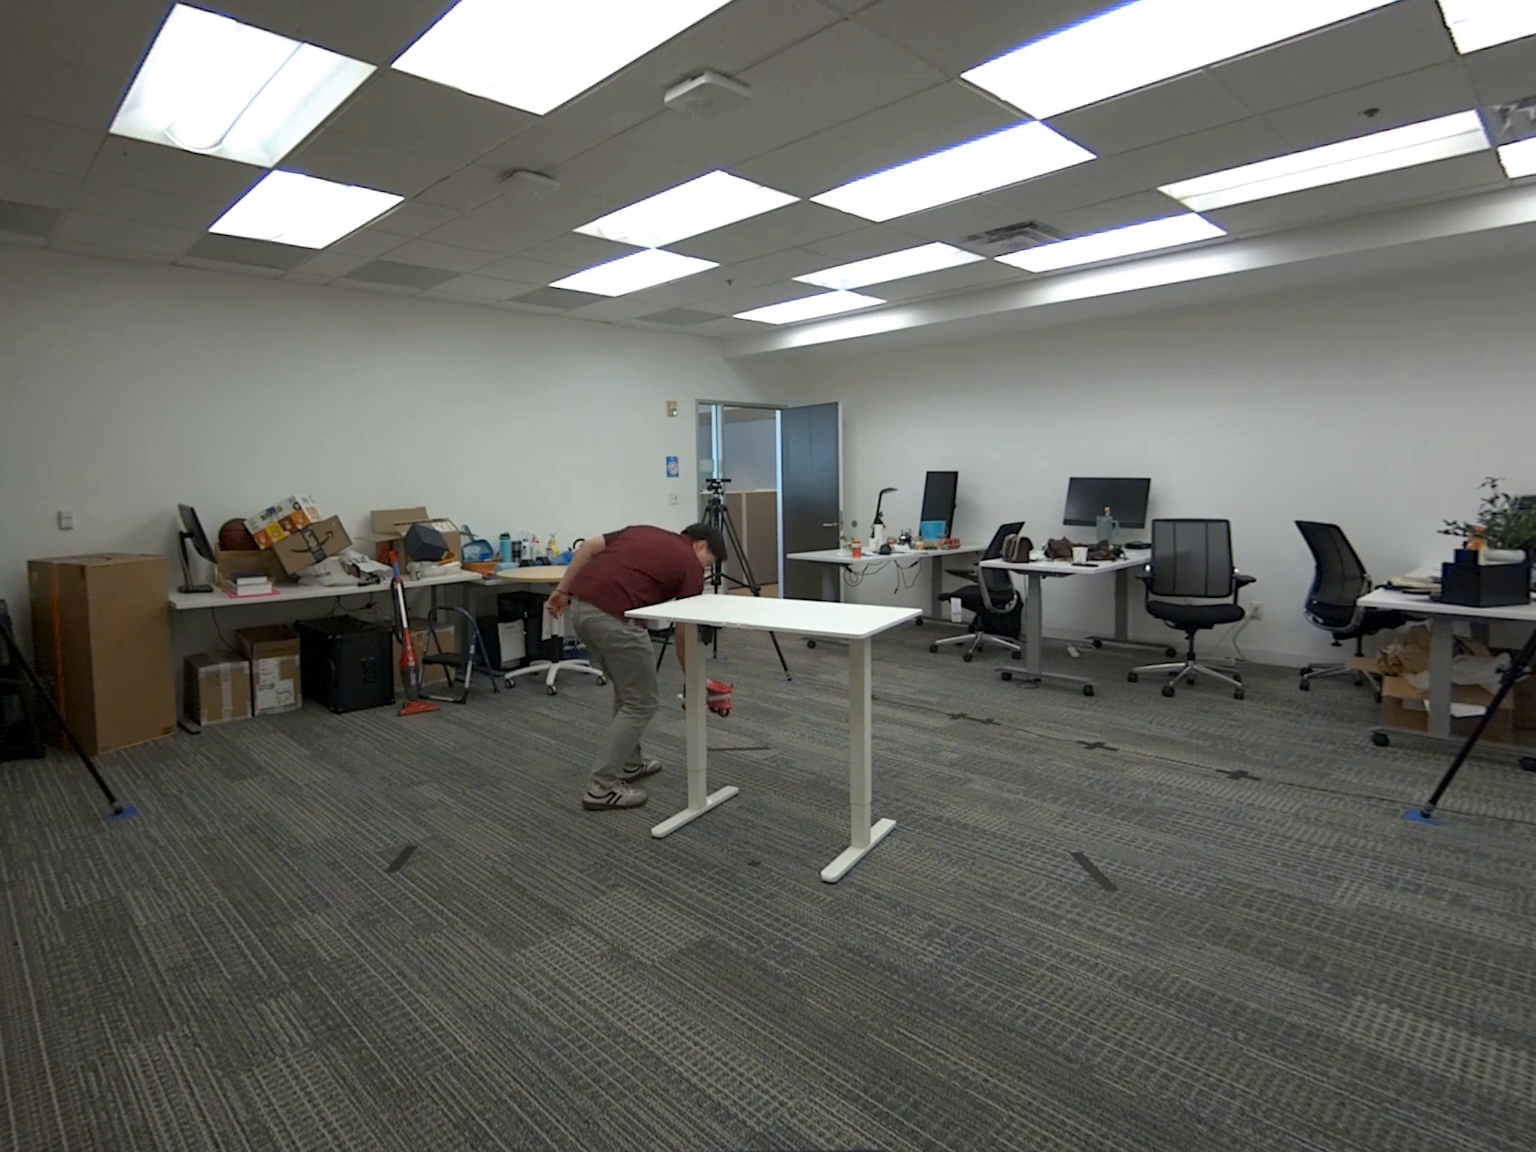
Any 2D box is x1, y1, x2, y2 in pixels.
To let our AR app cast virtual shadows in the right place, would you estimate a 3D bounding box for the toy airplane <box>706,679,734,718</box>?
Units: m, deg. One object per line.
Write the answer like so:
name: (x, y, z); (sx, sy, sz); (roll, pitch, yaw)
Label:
toy airplane: (-0.278, 0.573, 4.039); (0.259, 0.156, 0.251); (11, -2, 33)
